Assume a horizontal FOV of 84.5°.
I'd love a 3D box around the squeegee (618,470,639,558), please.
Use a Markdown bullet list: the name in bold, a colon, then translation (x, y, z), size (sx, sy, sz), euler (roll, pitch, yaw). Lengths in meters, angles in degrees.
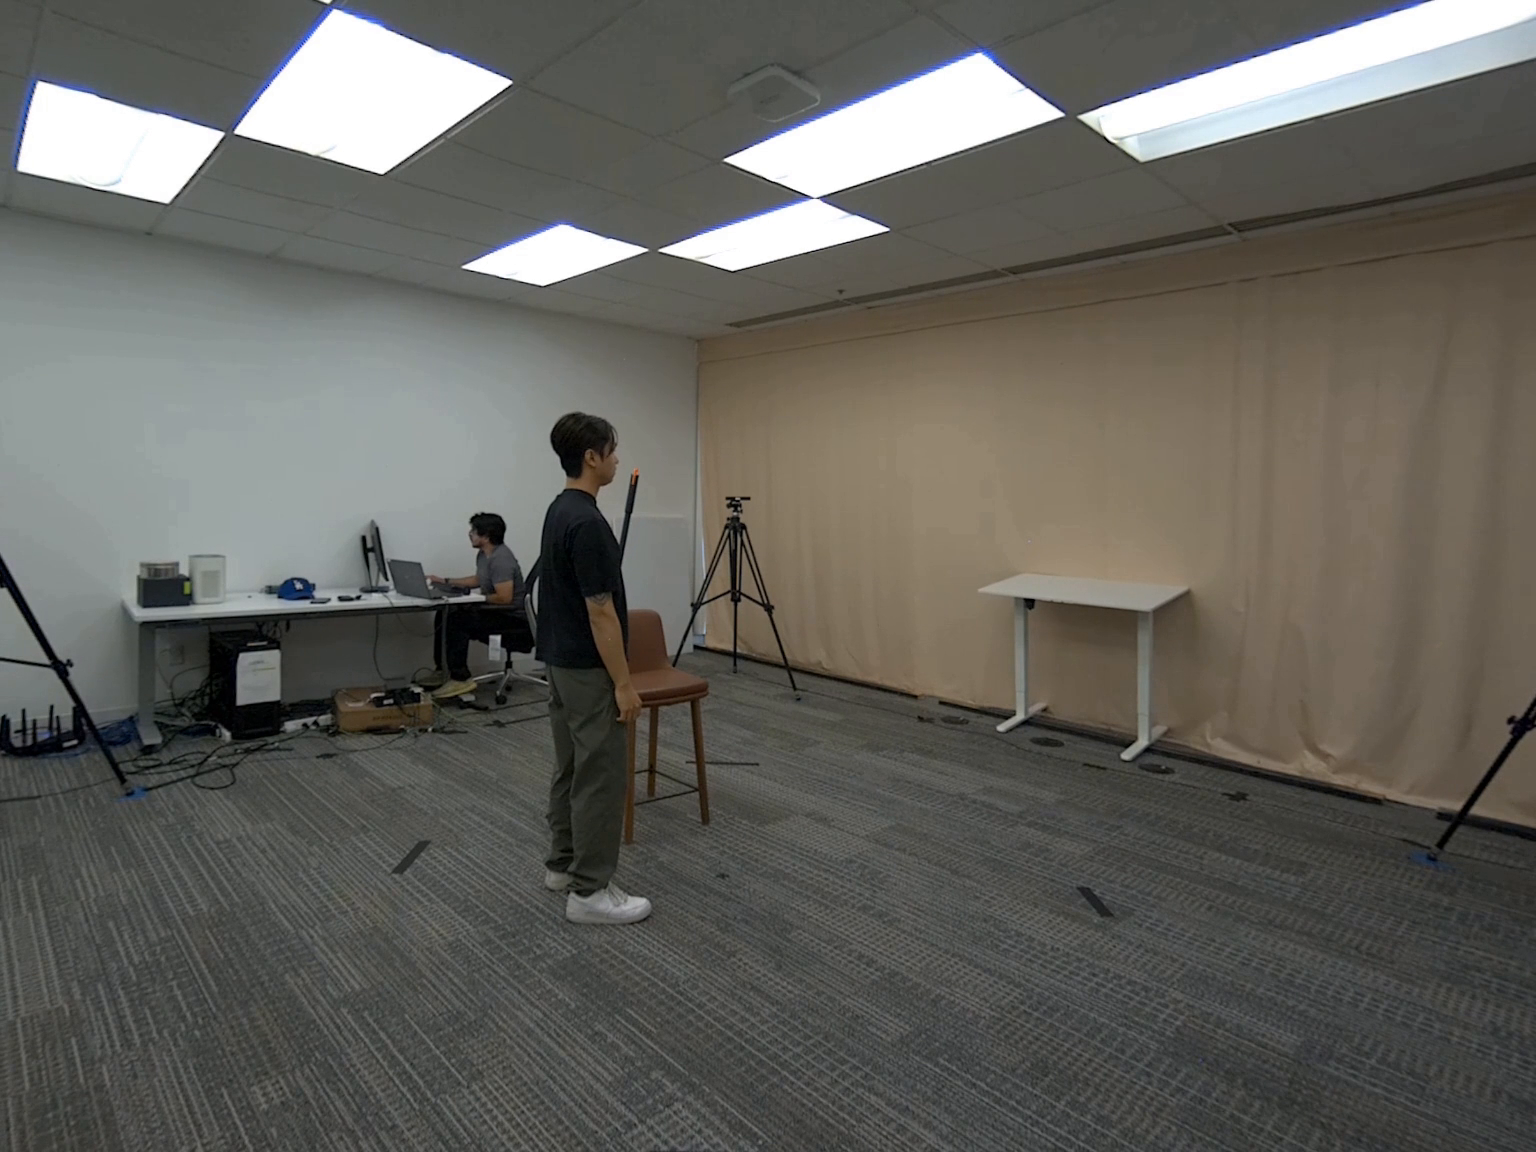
- **squeegee**: translation (-0.679, 0.299, 3.478), size (0.052, 1.541, 0.446), euler (9, -4, -27)
